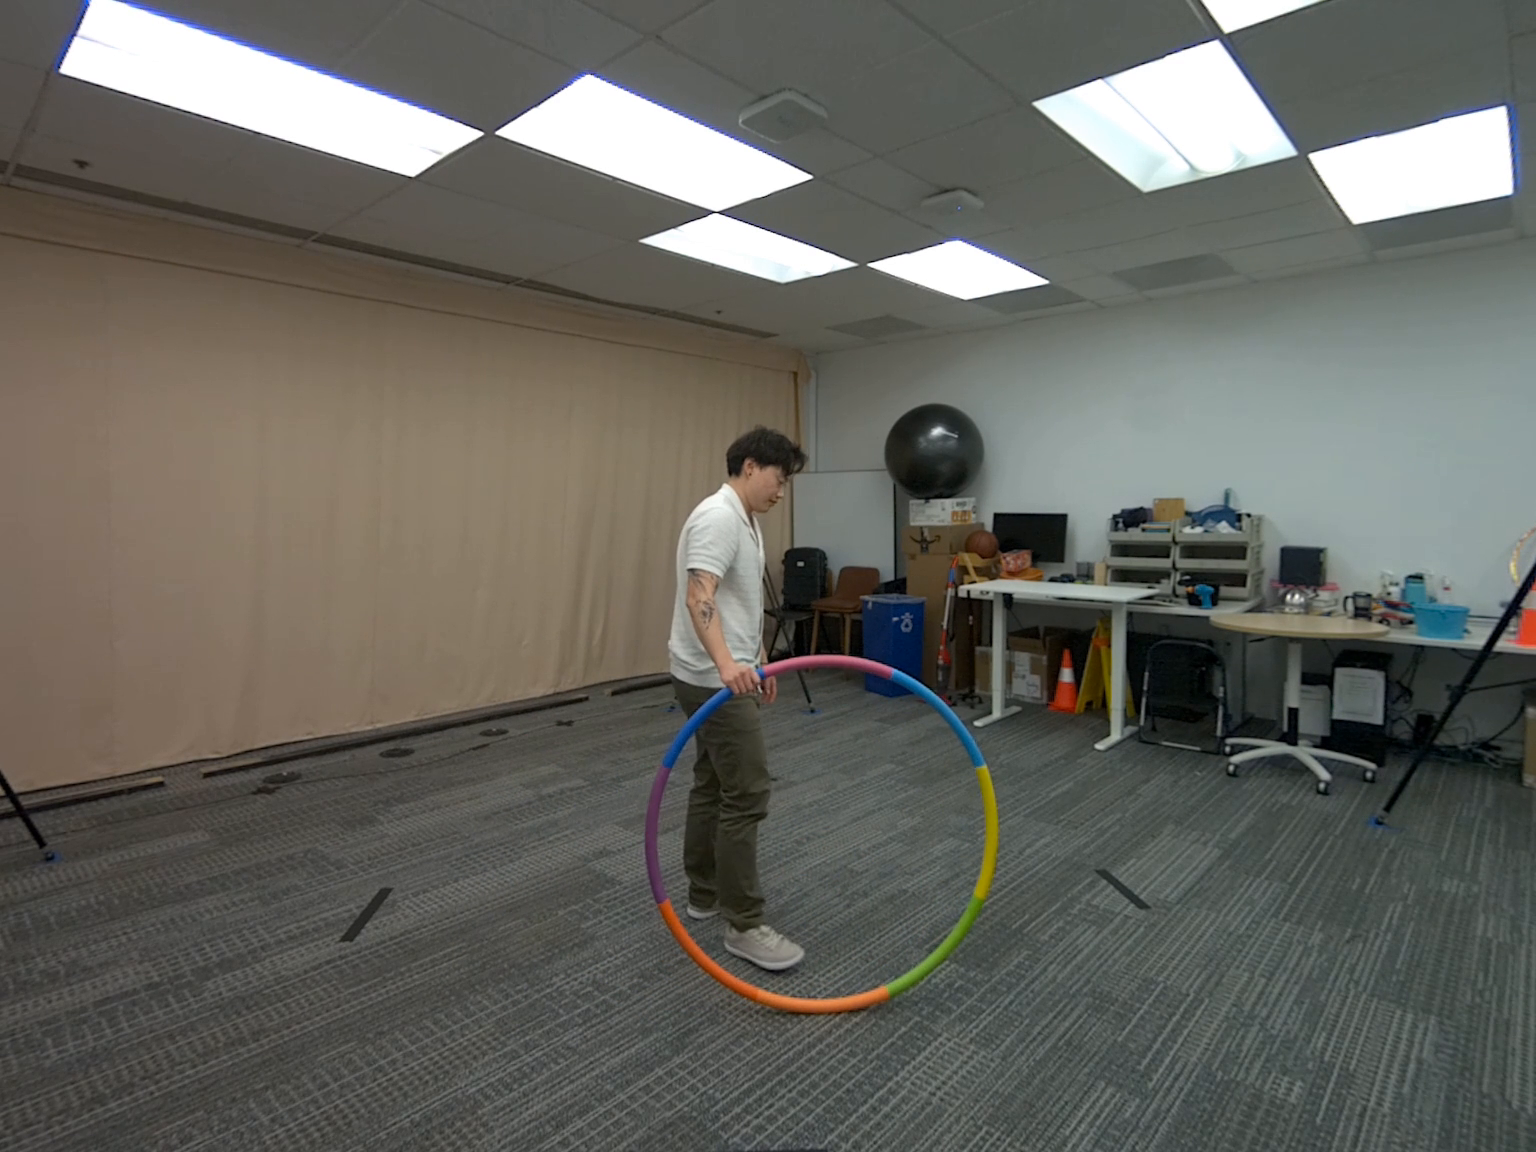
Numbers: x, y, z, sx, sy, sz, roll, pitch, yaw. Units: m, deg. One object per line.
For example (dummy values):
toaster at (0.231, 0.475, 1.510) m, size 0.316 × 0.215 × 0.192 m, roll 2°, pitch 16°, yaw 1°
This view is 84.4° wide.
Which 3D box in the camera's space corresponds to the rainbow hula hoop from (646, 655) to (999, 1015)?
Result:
rainbow hula hoop at (0.179, 0.712, 2.339) m, size 0.974 × 0.980 × 0.035 m, roll 0°, pitch -3°, yaw -4°
